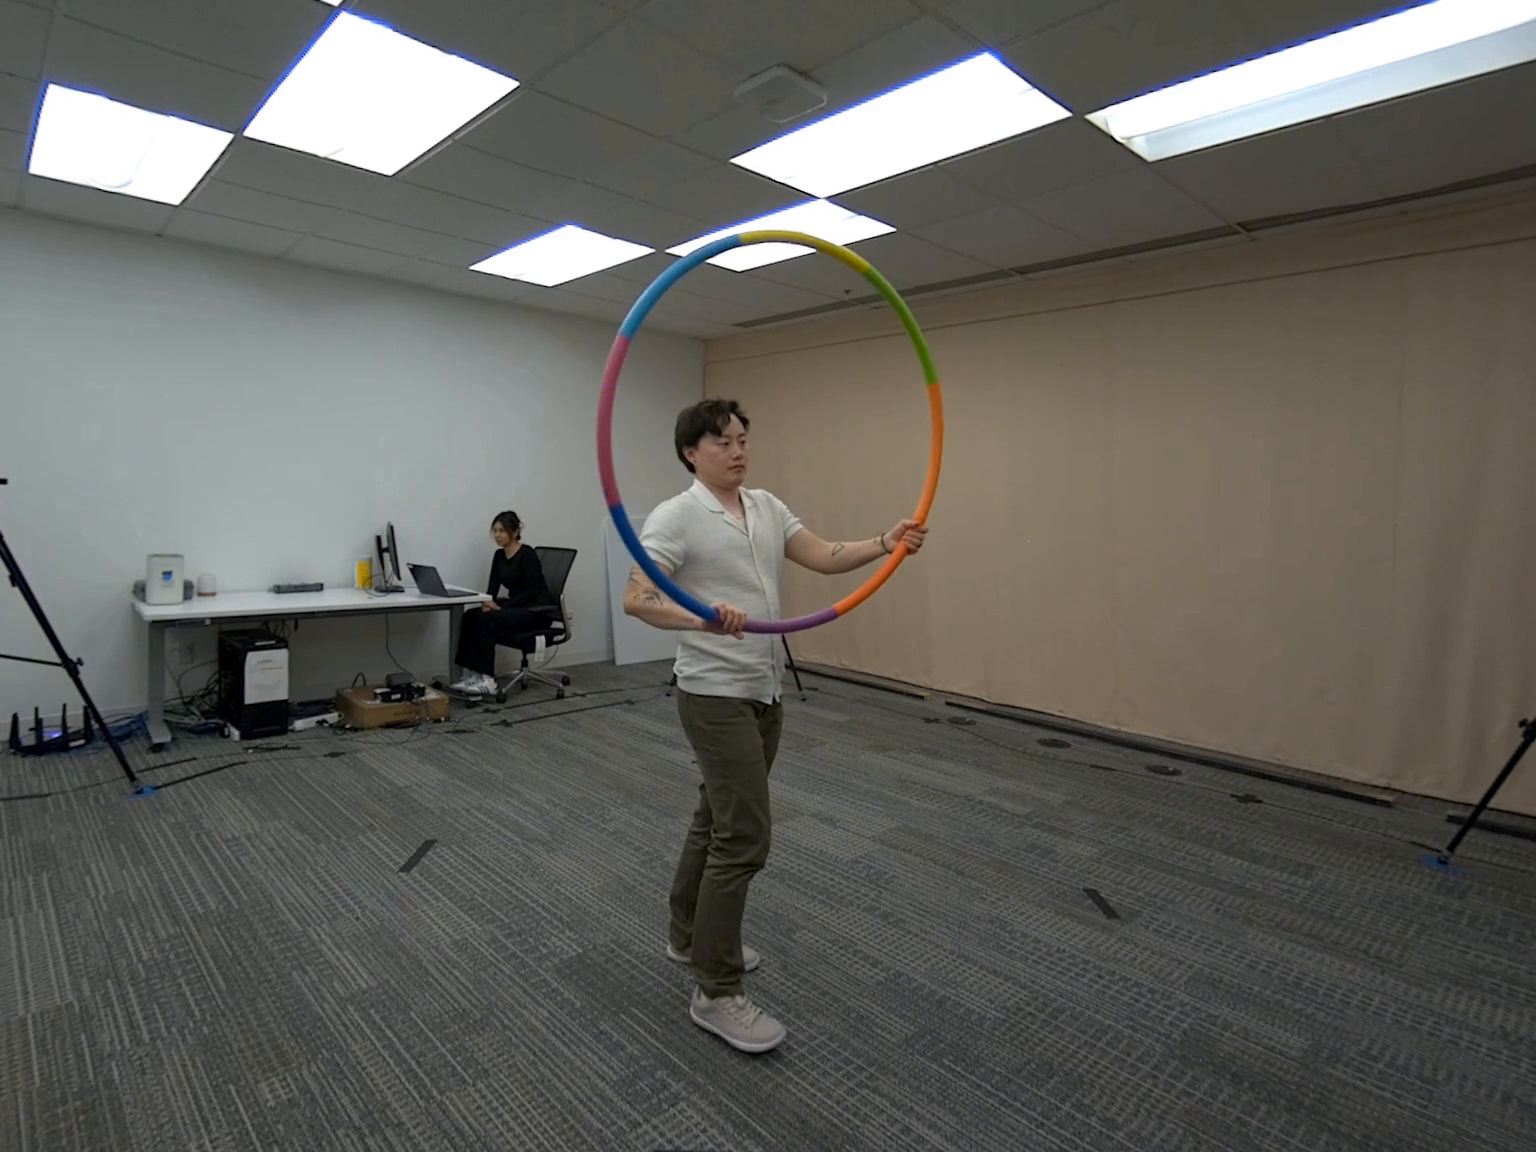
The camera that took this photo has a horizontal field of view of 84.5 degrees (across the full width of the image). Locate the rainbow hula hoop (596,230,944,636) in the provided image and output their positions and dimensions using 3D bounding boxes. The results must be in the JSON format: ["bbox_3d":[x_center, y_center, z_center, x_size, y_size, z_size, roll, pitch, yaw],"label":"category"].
[{"bbox_3d":[0.041,-0.334,2.070,0.959,0.973,0.036,-1,8,-31],"label":"rainbow hula hoop"}]
